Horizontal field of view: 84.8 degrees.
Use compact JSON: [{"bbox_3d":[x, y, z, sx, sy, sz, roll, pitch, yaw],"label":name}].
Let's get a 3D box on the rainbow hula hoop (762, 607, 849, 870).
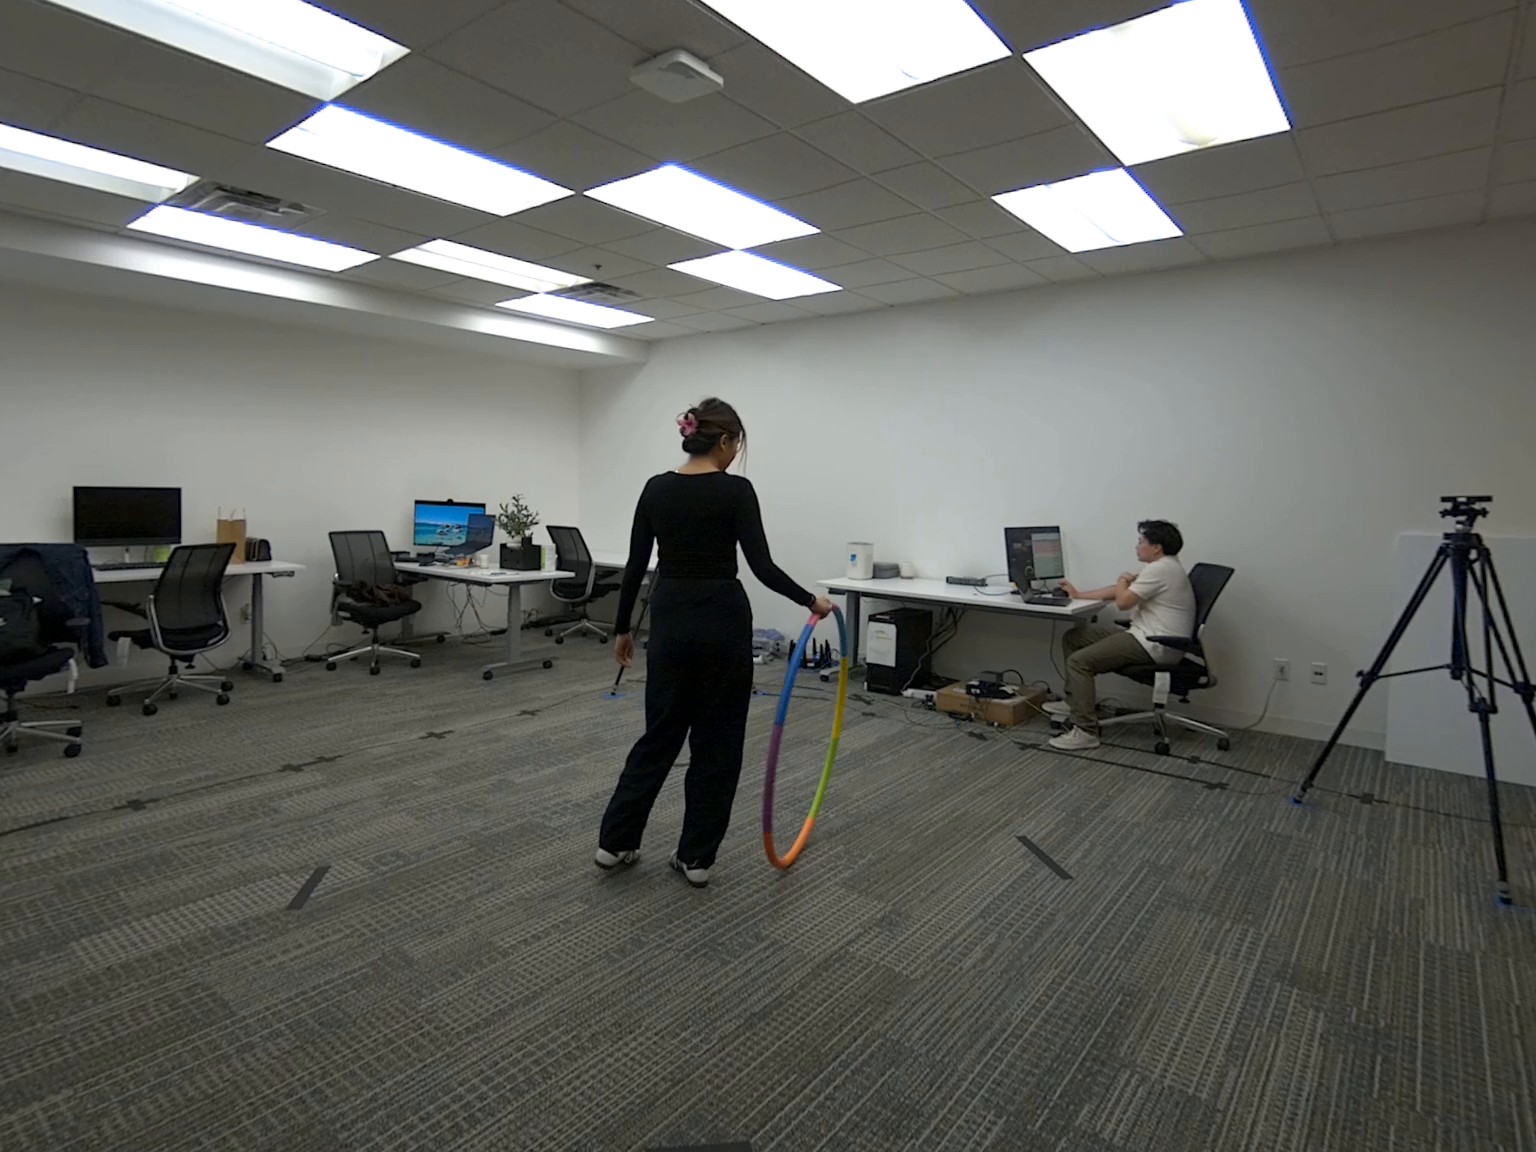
[{"bbox_3d":[0.134,0.582,3.176,0.036,0.974,0.961,9,6,18],"label":"rainbow hula hoop"}]
